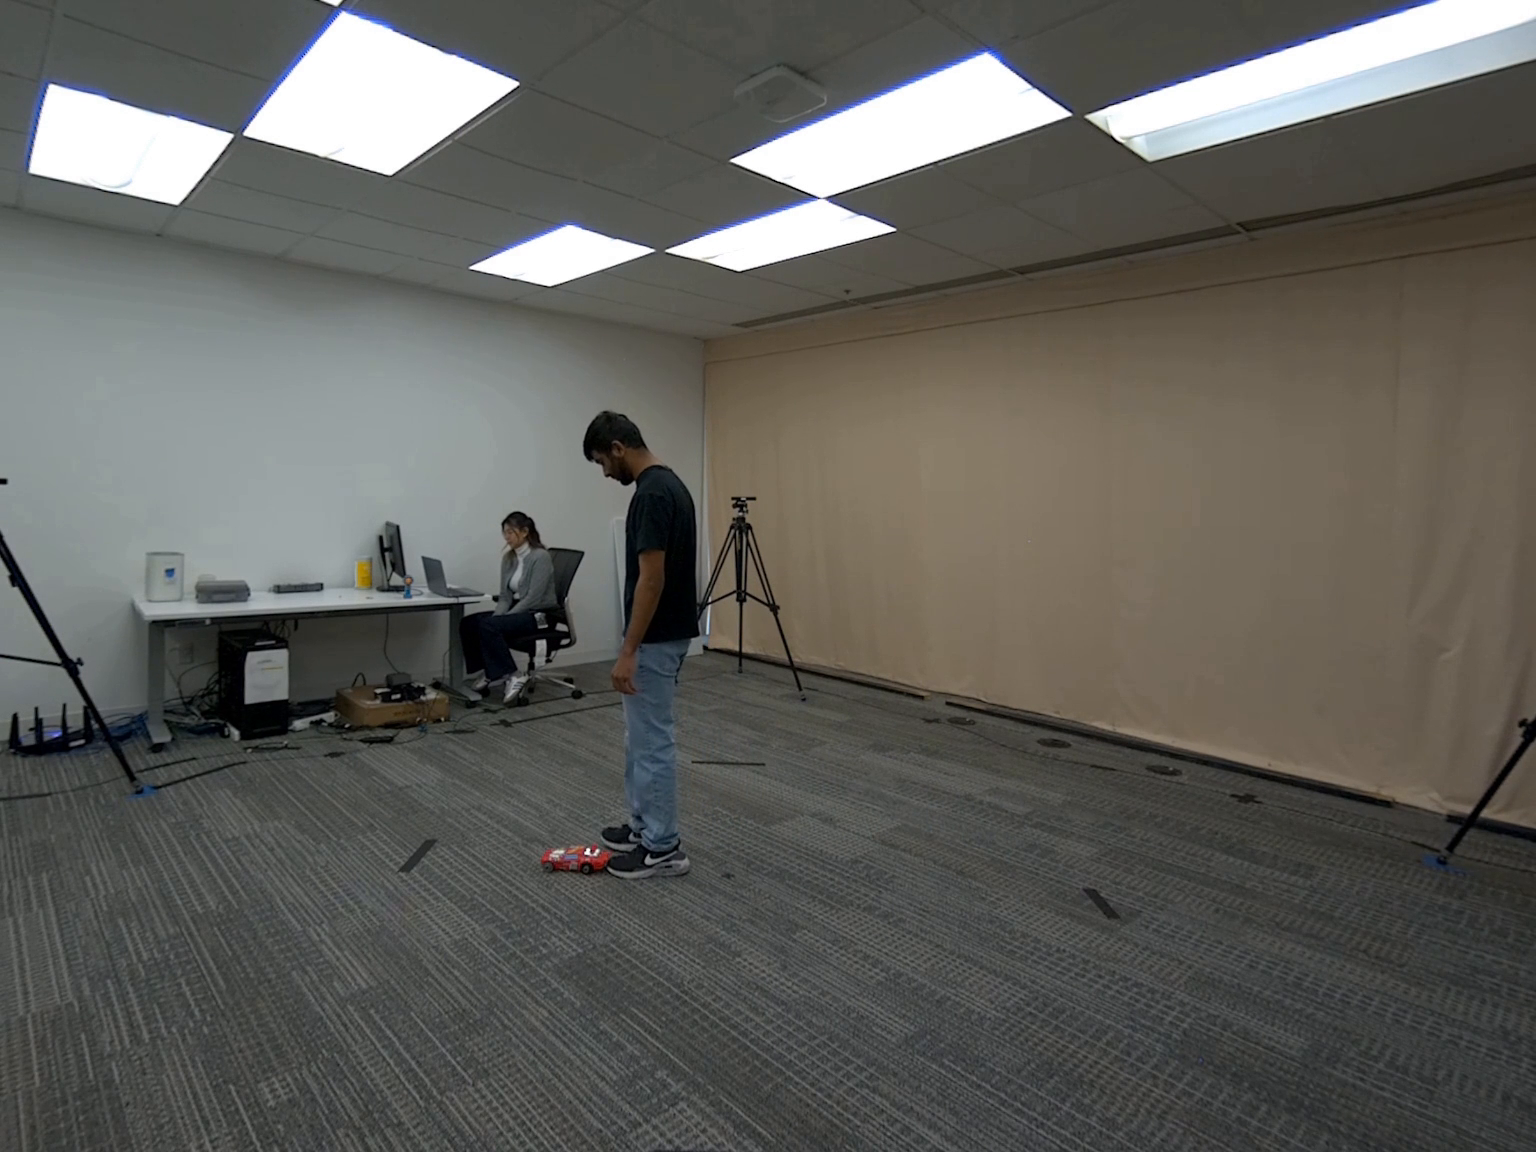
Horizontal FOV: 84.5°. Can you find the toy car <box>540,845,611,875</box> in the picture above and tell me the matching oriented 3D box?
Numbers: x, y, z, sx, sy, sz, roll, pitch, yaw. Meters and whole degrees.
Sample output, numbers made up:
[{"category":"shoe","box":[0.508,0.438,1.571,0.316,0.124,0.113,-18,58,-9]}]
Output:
[{"category":"toy car","box":[-0.714,1.053,3.141,0.256,0.083,0.130,-10,3,6]}]
